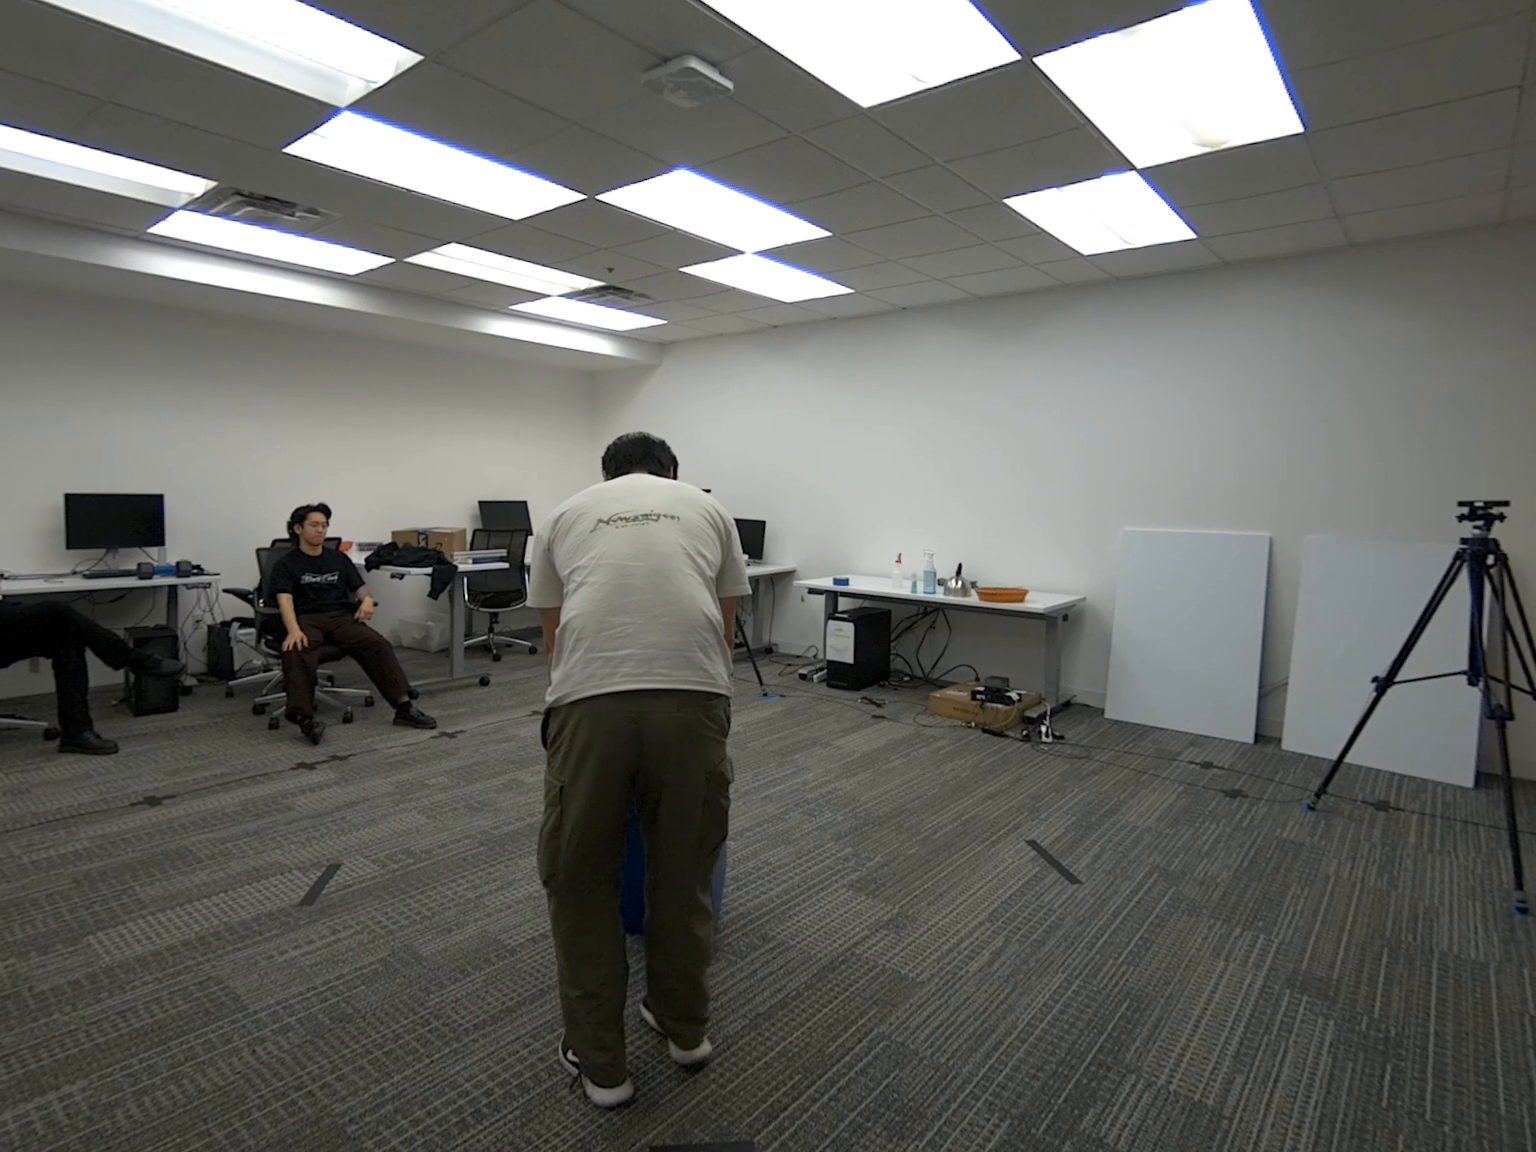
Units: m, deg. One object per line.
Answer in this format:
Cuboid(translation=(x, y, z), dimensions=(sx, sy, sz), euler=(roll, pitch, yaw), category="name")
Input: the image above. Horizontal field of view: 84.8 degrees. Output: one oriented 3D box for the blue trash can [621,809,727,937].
Cuboid(translation=(-0.316, 0.734, 2.593), dimensions=(0.381, 0.695, 0.381), euler=(1, 30, 6), category="blue trash can")
